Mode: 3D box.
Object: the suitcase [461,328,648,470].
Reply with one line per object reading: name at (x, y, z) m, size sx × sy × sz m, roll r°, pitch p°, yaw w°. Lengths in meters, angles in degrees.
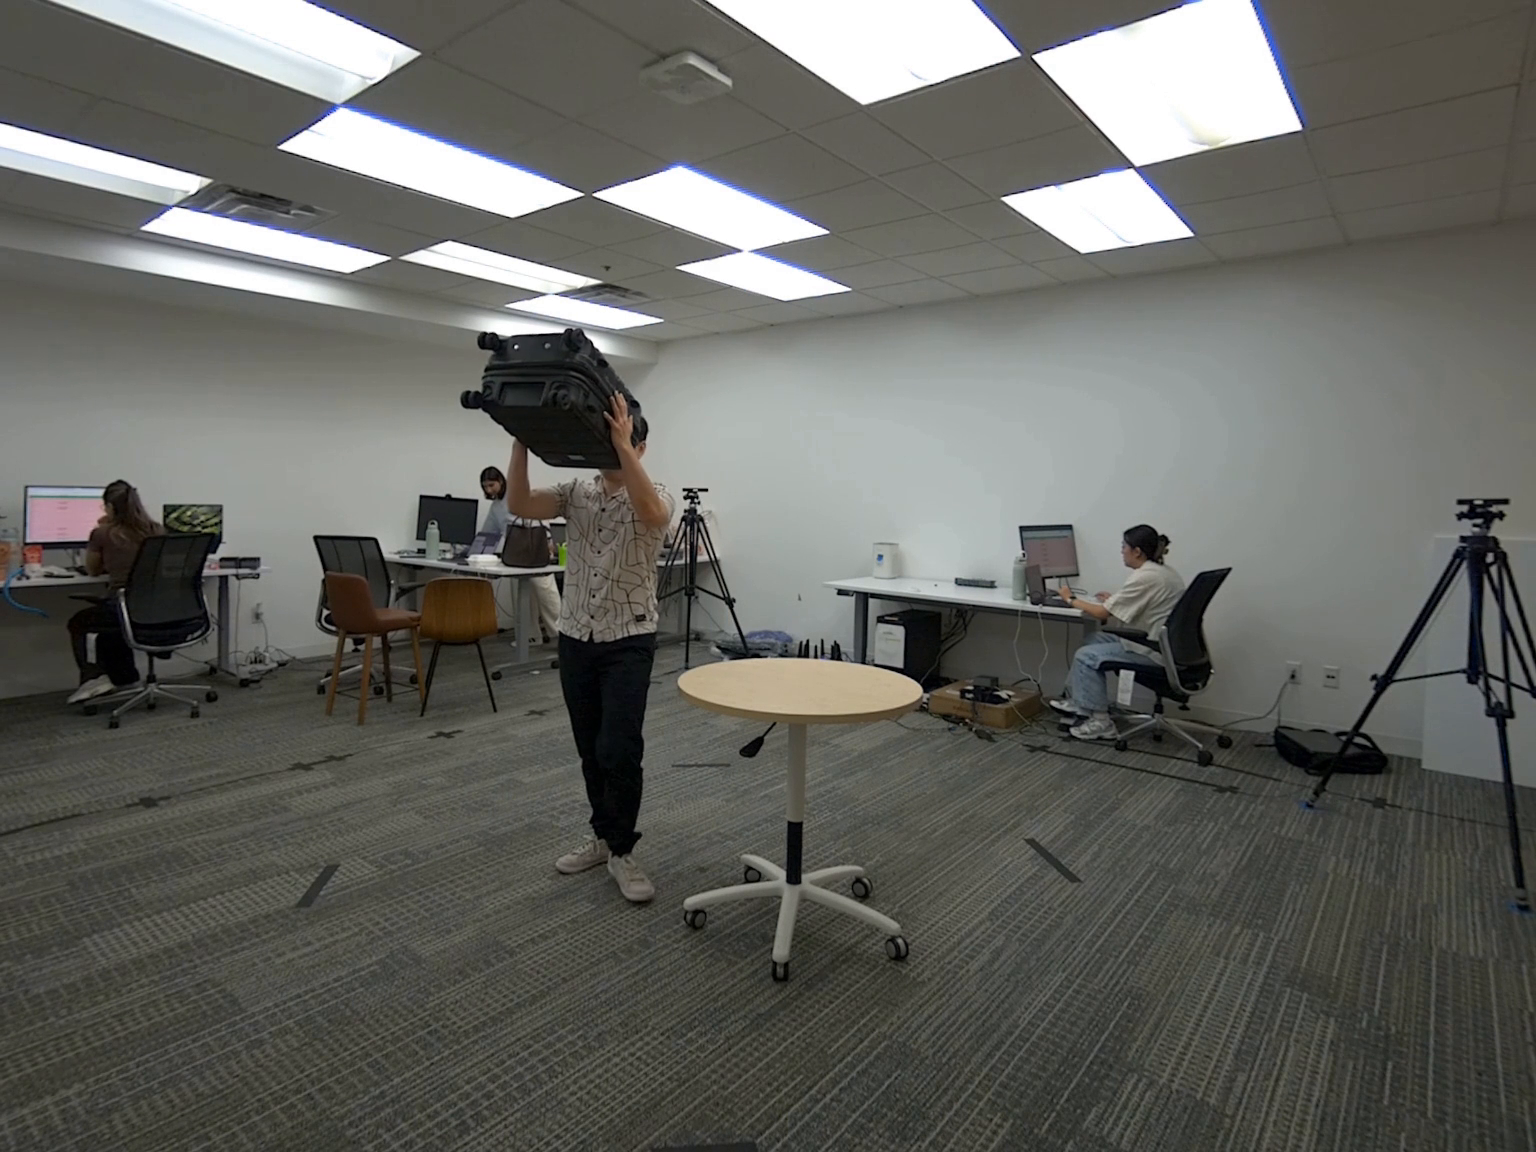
suitcase at (-0.666, -0.544, 2.700) m, size 0.383 × 0.251 × 0.532 m, roll 4°, pitch -16°, yaw 17°
